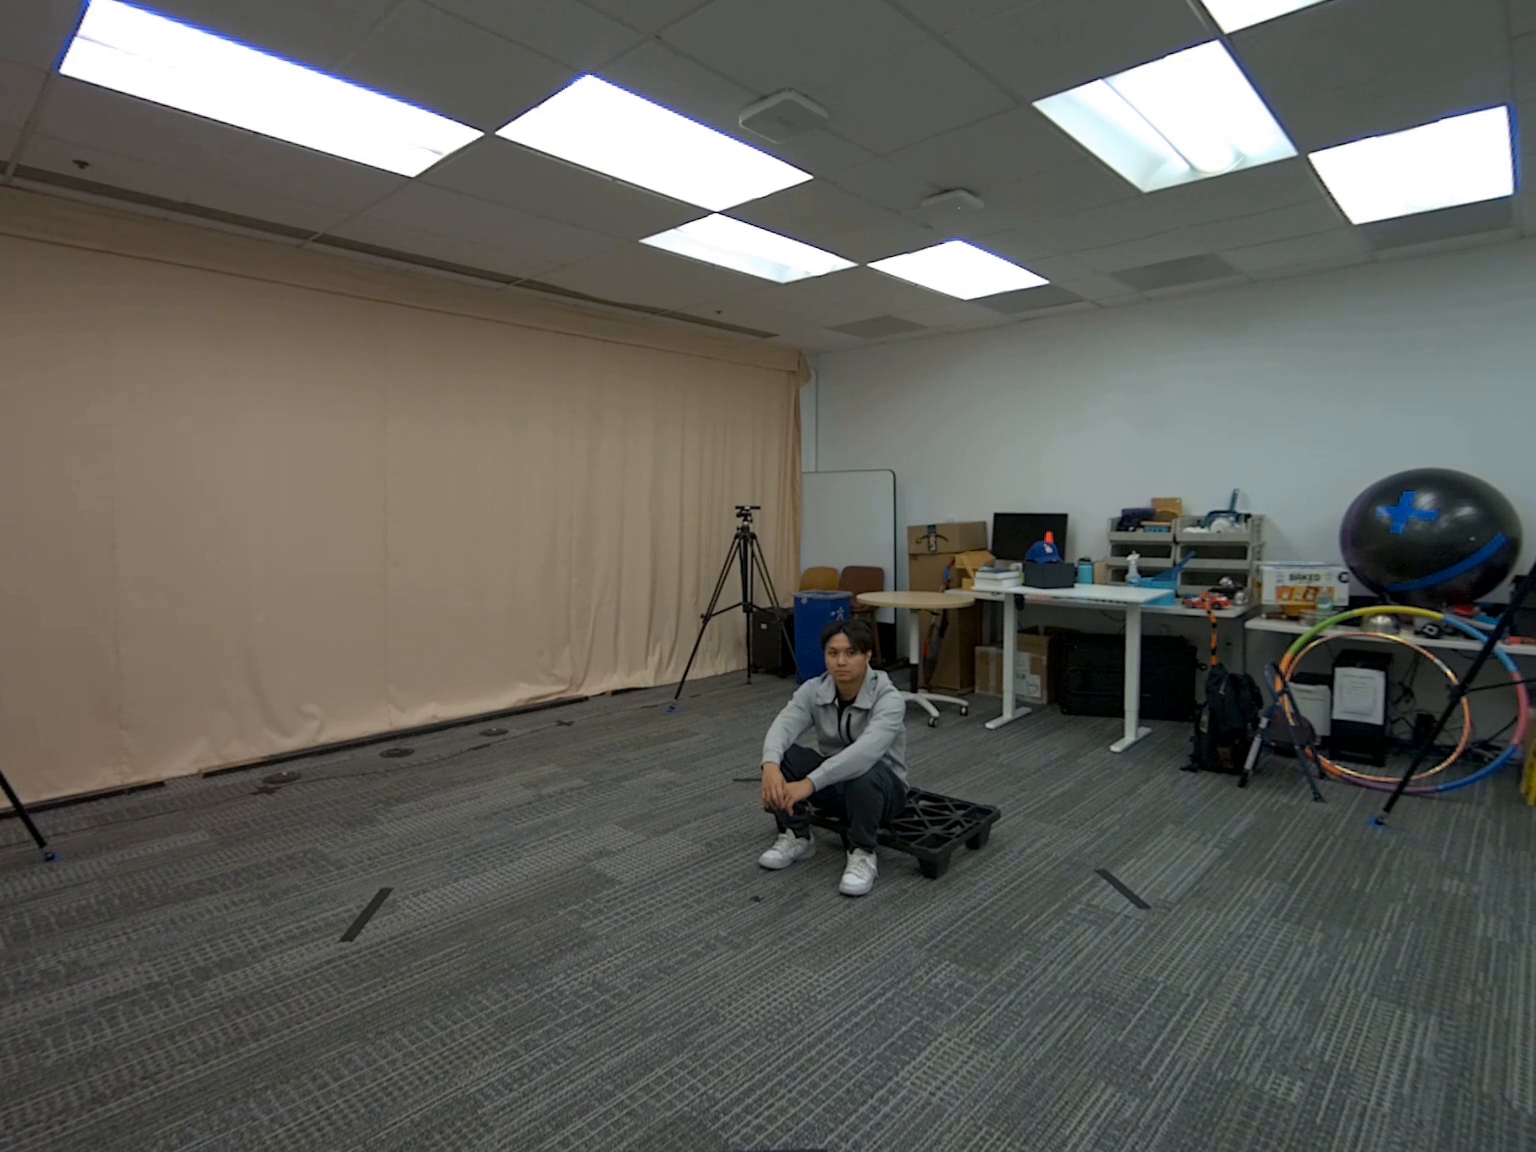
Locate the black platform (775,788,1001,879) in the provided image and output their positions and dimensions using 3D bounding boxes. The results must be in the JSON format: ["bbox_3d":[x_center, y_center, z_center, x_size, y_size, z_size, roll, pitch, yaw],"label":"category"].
[{"bbox_3d":[0.477,1.030,3.534,0.832,0.143,0.587,4,7,39],"label":"black platform"}]
